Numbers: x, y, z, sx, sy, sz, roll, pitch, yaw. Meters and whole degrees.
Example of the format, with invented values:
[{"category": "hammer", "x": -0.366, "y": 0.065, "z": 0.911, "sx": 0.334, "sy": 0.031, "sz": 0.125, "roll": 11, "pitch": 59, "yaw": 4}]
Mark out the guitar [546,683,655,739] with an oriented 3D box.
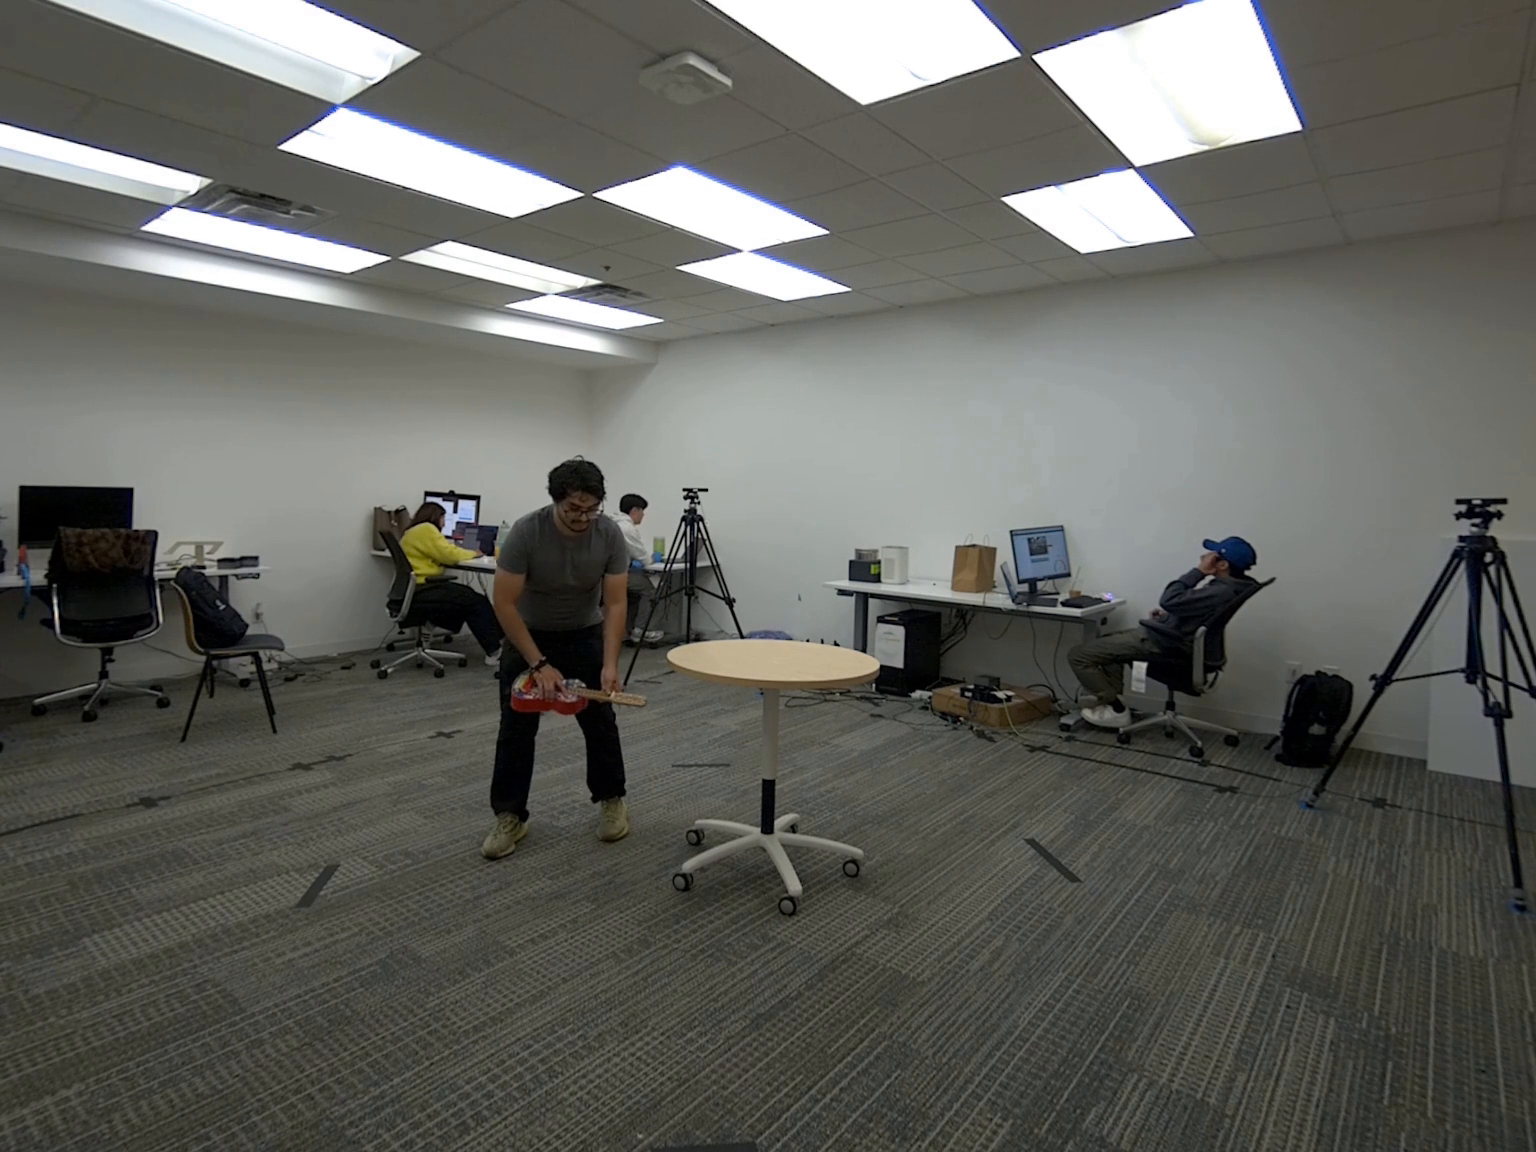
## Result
[{"category": "guitar", "x": -0.692, "y": 0.452, "z": 3.117, "sx": 0.506, "sy": 0.069, "sz": 0.193, "roll": 12, "pitch": 26, "yaw": 13}]
